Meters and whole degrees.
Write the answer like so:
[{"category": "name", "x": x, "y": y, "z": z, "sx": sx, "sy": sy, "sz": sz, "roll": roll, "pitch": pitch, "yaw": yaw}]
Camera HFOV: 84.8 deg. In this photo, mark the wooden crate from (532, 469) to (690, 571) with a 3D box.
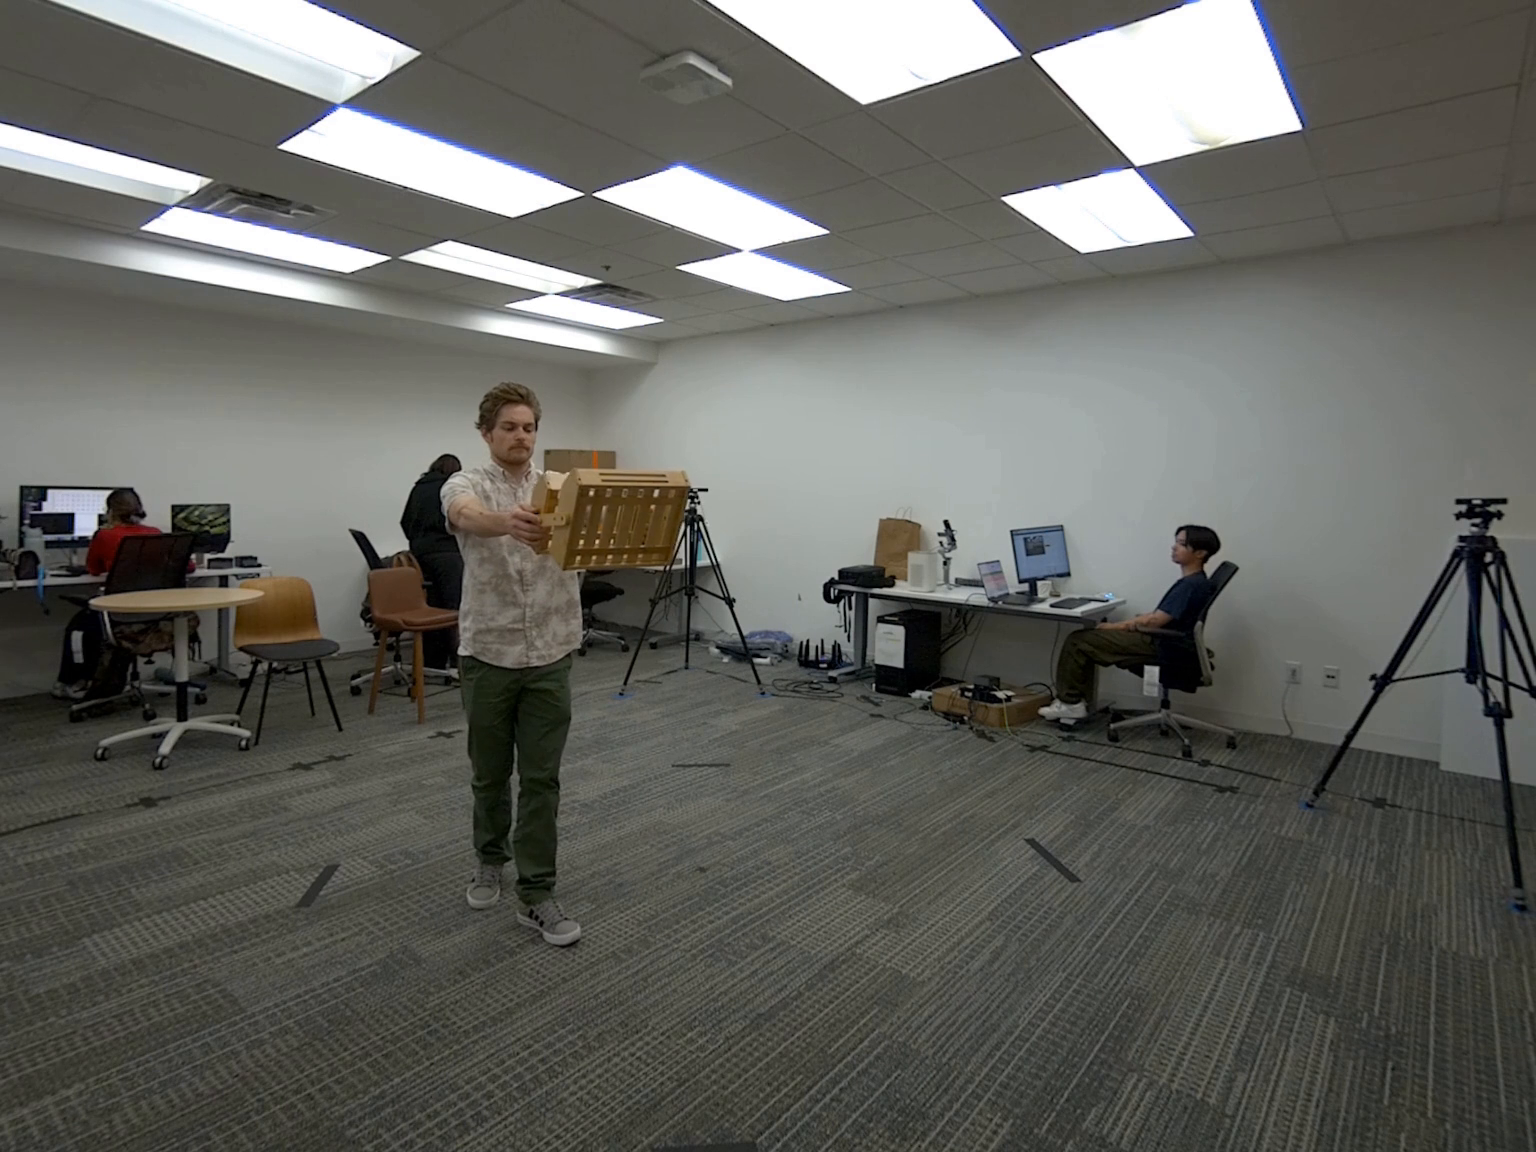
[{"category": "wooden crate", "x": -0.429, "y": -0.176, "z": 2.184, "sx": 0.315, "sy": 0.298, "sz": 0.285, "roll": -2, "pitch": 30, "yaw": -34}]
